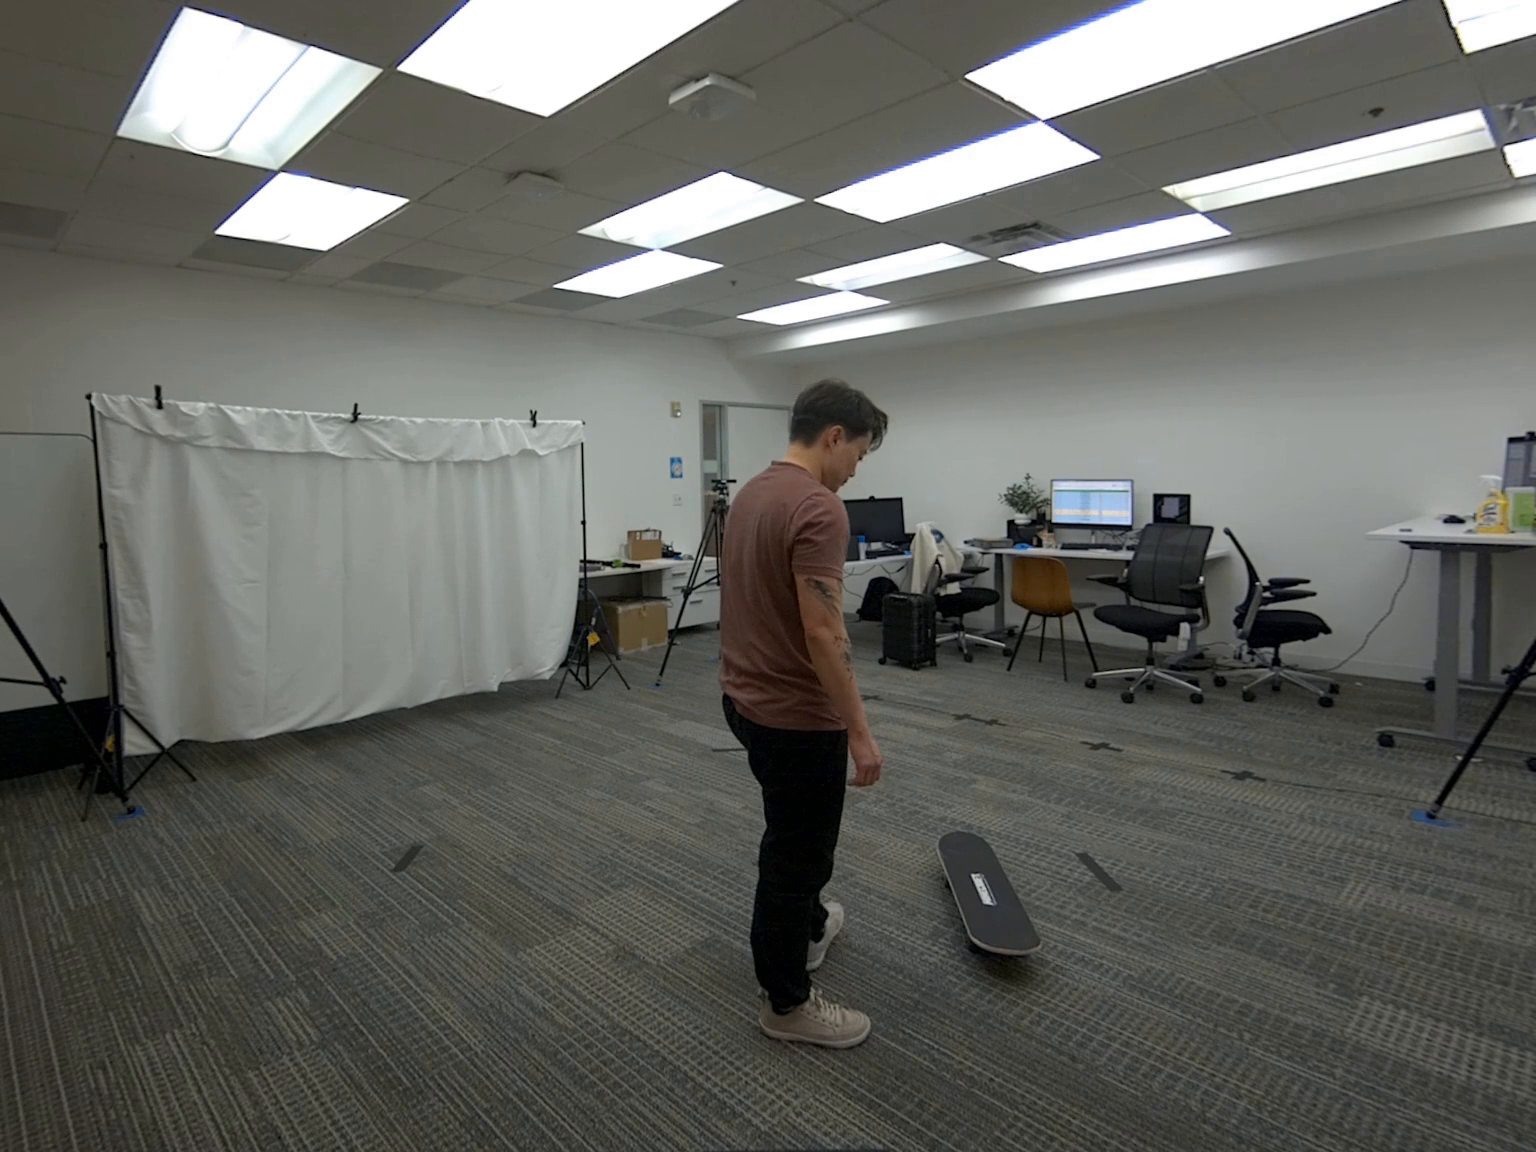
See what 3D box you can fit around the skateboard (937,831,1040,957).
[{"bbox_3d":[0.693,1.026,2.705,0.194,0.110,0.786,-2,7,3],"label":"skateboard"}]
